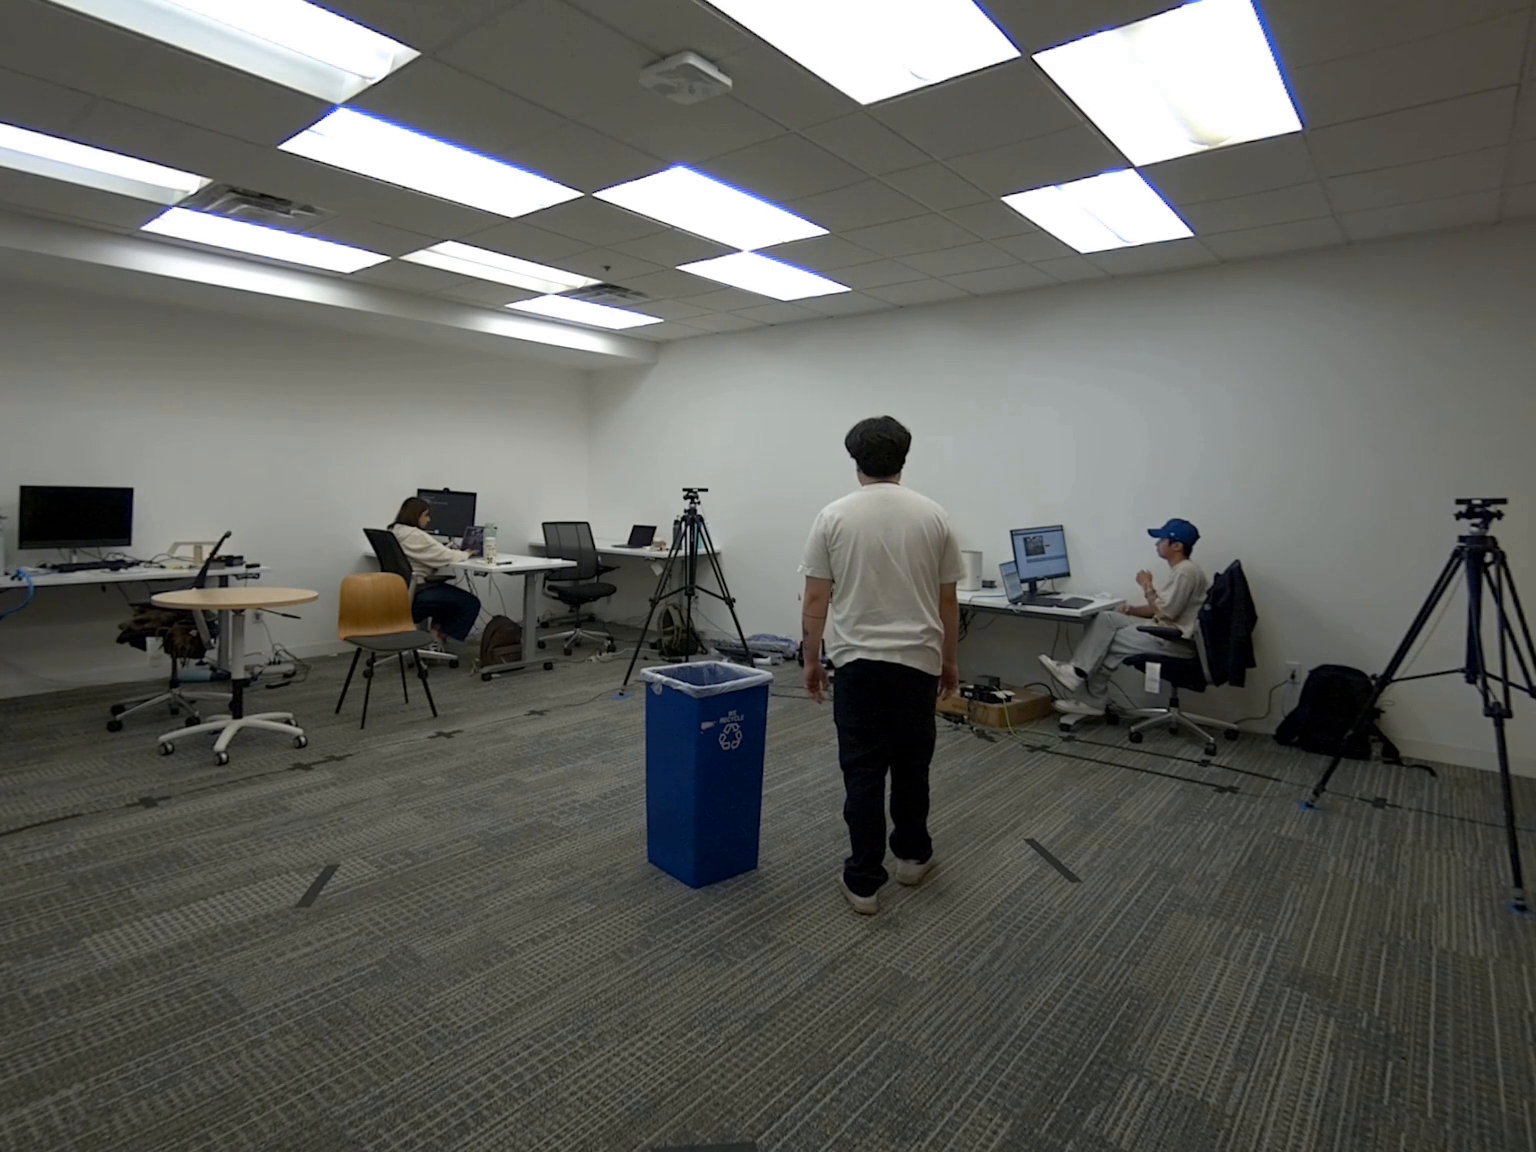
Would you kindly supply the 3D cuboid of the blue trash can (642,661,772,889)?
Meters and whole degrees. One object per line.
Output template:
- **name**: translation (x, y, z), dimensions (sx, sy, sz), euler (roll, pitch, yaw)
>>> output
- **blue trash can**: translation (-0.241, 0.707, 3.146), dimensions (0.363, 0.711, 0.391), euler (-2, 5, -41)
